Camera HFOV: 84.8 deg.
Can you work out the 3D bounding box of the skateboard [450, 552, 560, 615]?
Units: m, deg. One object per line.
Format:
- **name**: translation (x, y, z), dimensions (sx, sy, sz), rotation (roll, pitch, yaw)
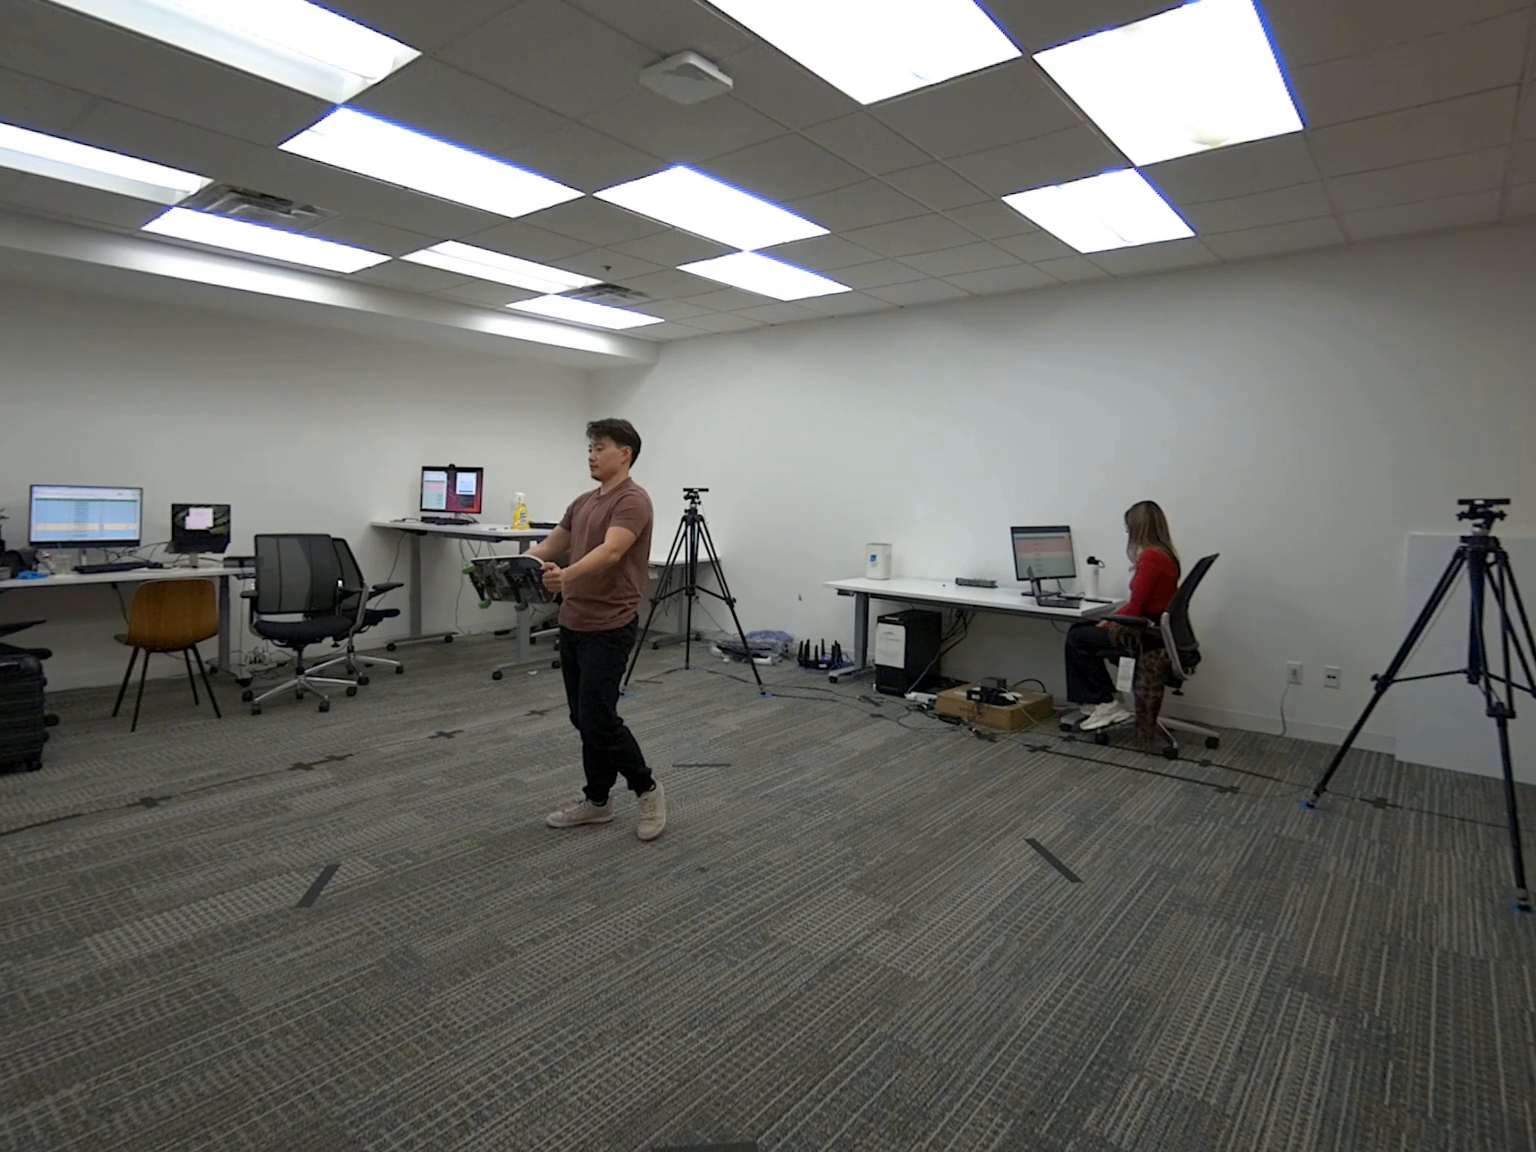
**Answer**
- **skateboard**: translation (-1.013, 0.024, 3.246), dimensions (0.109, 0.190, 0.808), rotation (-32, 18, -33)
